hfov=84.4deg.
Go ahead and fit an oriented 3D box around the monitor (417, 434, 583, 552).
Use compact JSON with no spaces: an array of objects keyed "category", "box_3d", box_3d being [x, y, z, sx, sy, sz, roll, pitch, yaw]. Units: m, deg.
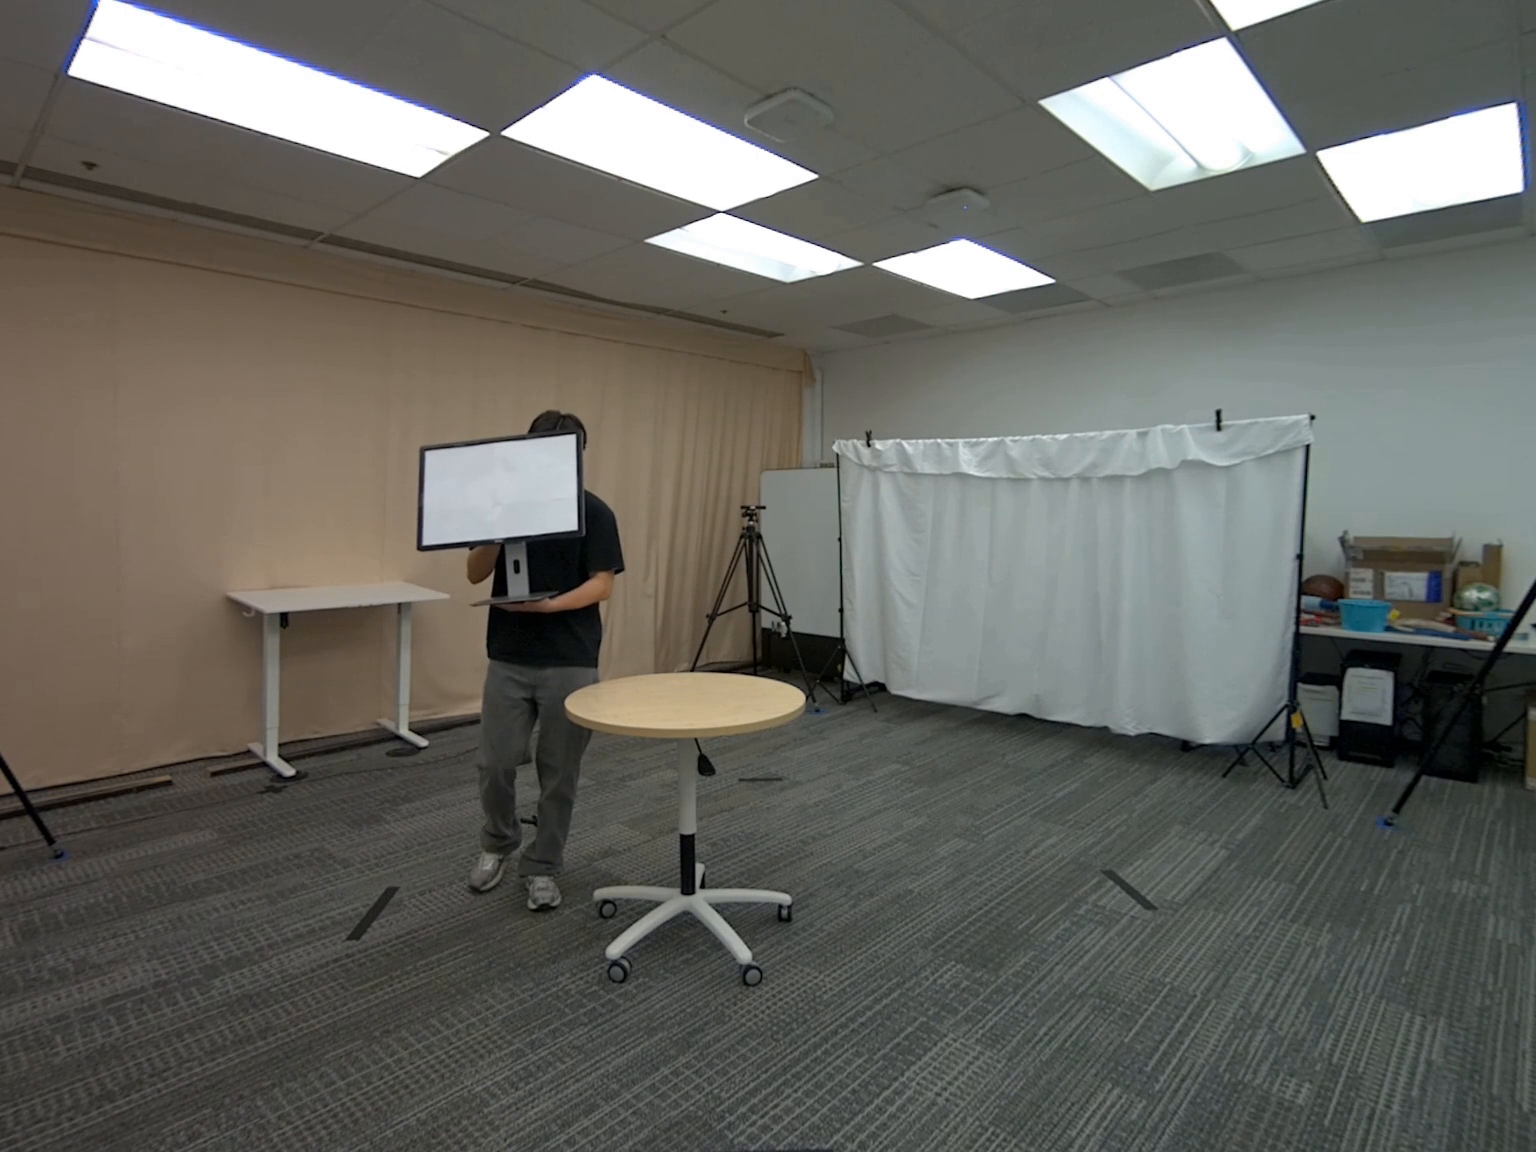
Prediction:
[{"category":"monitor","box_3d":[-0.848,-0.172,2.775,0.567,0.565,0.220,-7,2,9]}]
